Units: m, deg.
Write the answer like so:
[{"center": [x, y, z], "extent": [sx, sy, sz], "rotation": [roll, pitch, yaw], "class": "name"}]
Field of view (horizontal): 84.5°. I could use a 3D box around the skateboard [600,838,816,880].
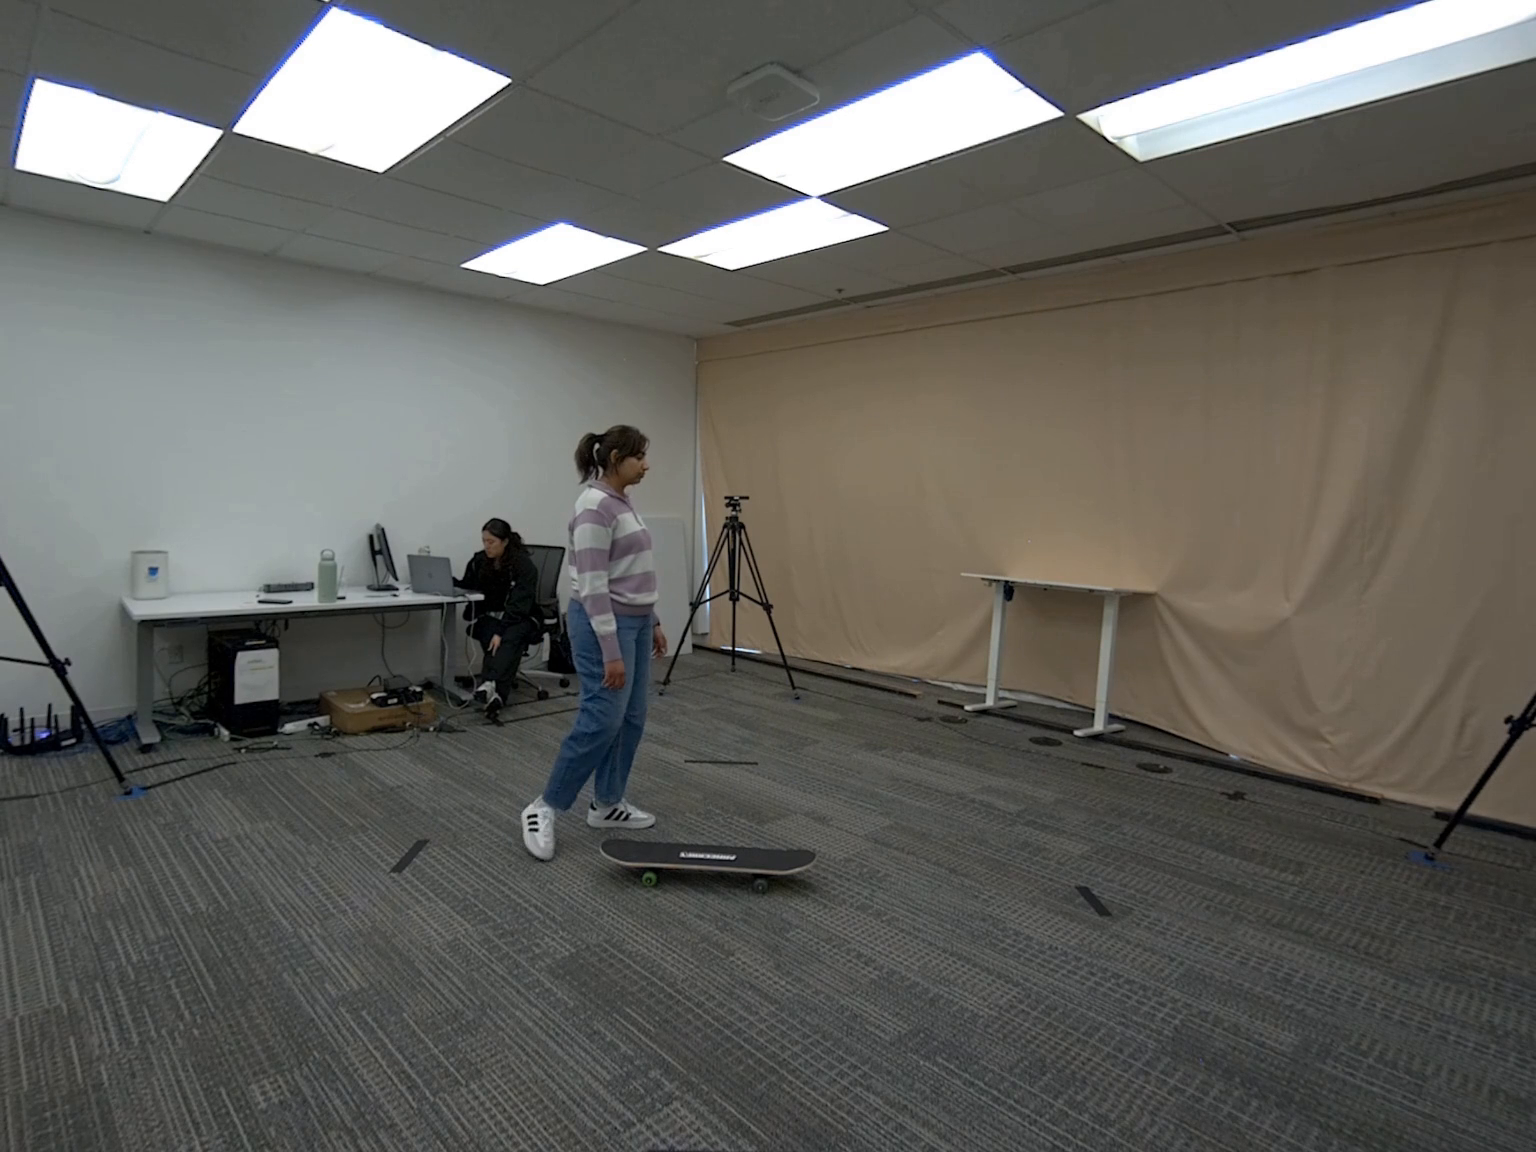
[{"center": [-0.227, 1.047, 3.061], "extent": [0.789, 0.110, 0.193], "rotation": [1, 5, 5], "class": "skateboard"}]
